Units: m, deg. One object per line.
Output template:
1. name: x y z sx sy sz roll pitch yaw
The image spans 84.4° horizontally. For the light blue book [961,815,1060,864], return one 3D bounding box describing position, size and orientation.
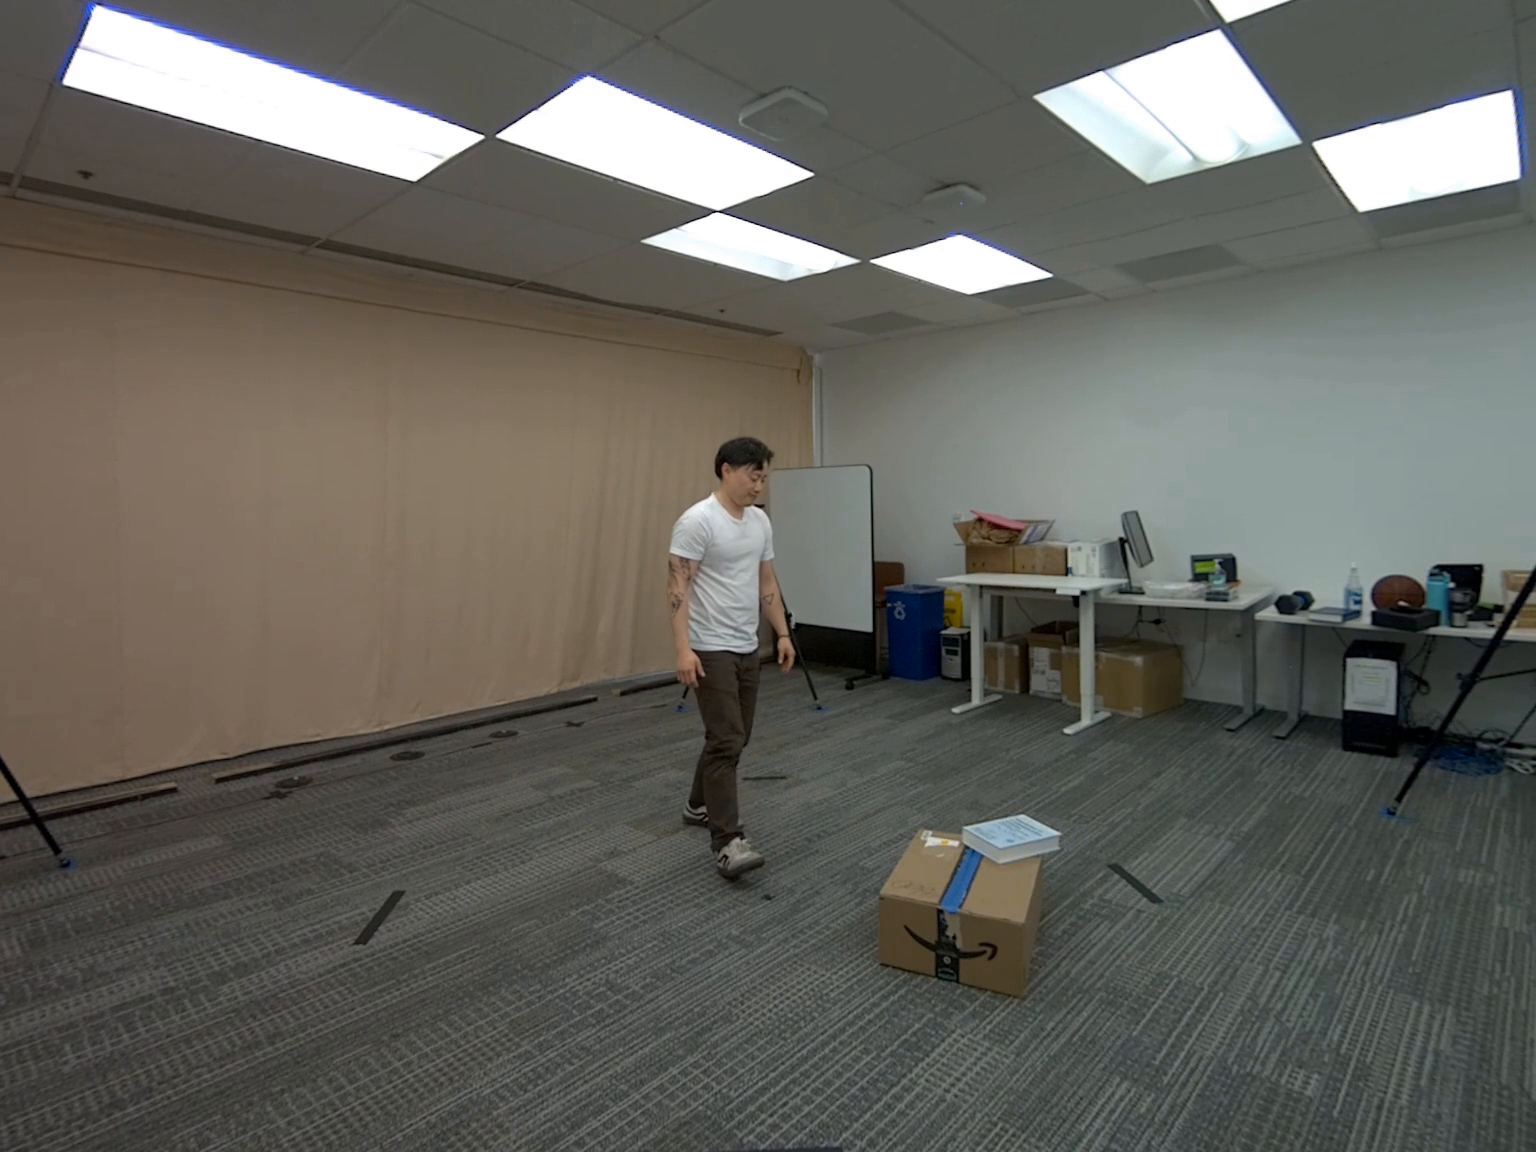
1. light blue book: 0.828 0.889 2.854 0.255 0.059 0.196 -4 7 -24
